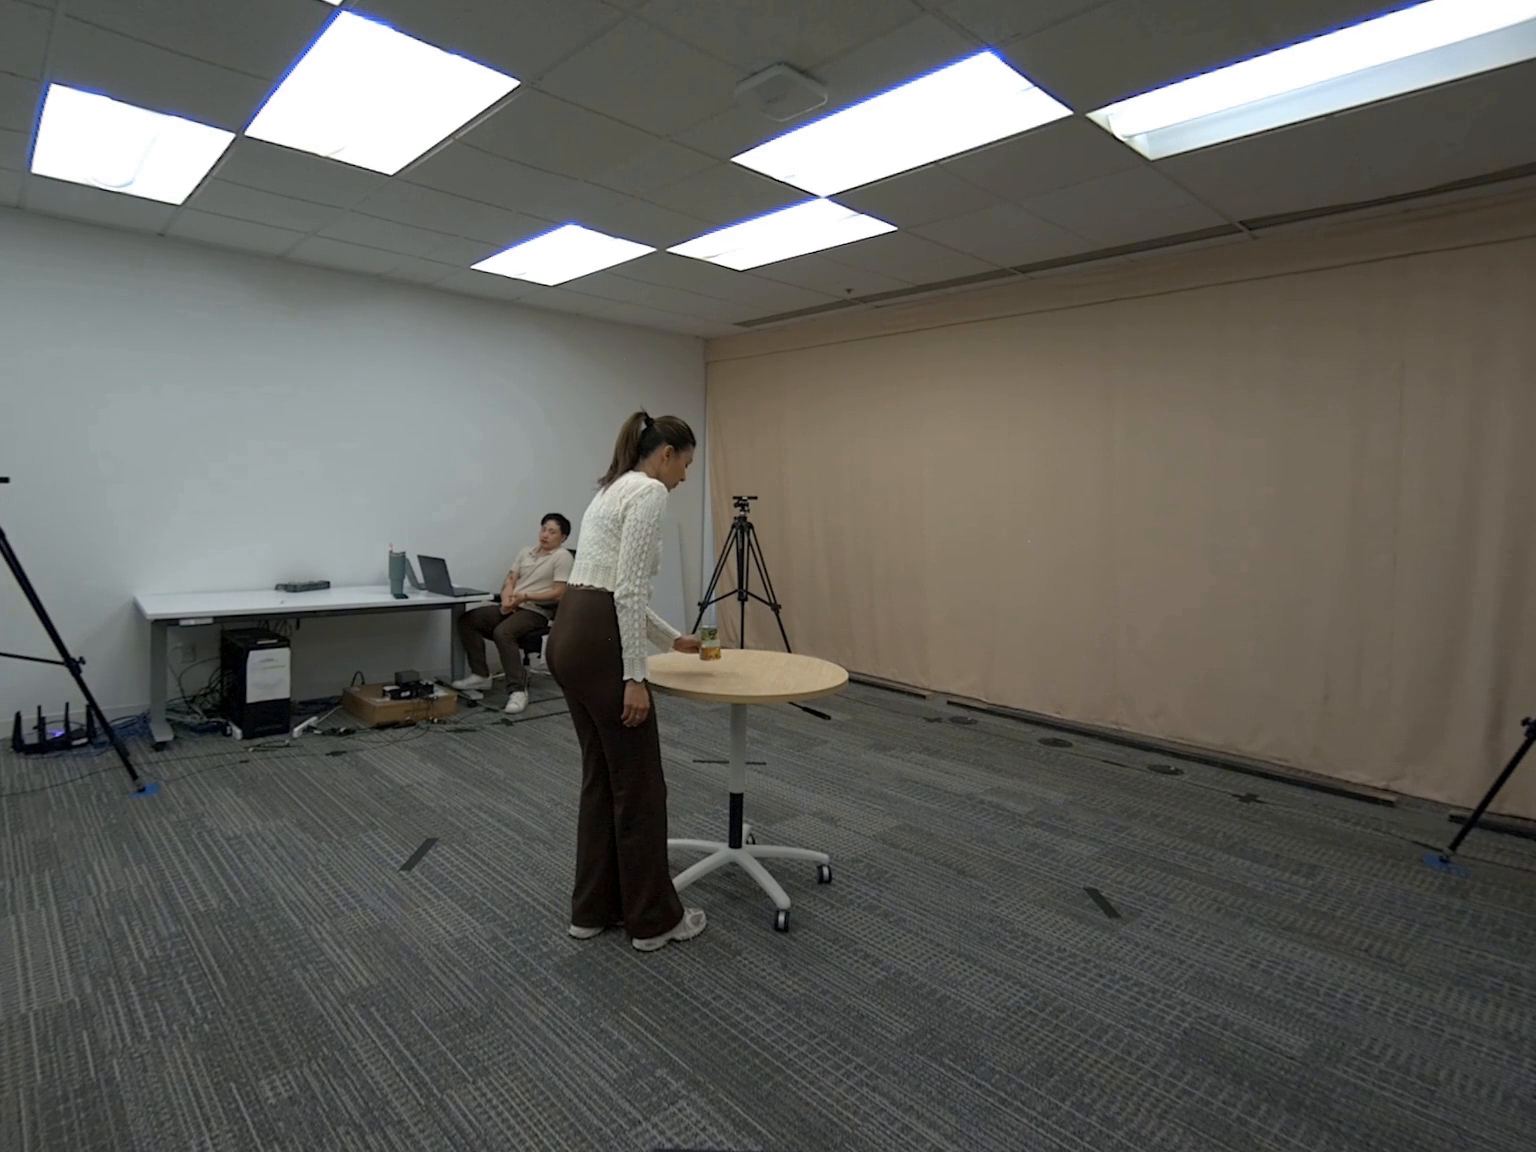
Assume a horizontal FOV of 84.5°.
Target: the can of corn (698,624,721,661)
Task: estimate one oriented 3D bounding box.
[{"bbox_3d":[-0.221,0.233,2.885,0.074,0.111,0.074,-3,4,-1],"label":"can of corn"}]
